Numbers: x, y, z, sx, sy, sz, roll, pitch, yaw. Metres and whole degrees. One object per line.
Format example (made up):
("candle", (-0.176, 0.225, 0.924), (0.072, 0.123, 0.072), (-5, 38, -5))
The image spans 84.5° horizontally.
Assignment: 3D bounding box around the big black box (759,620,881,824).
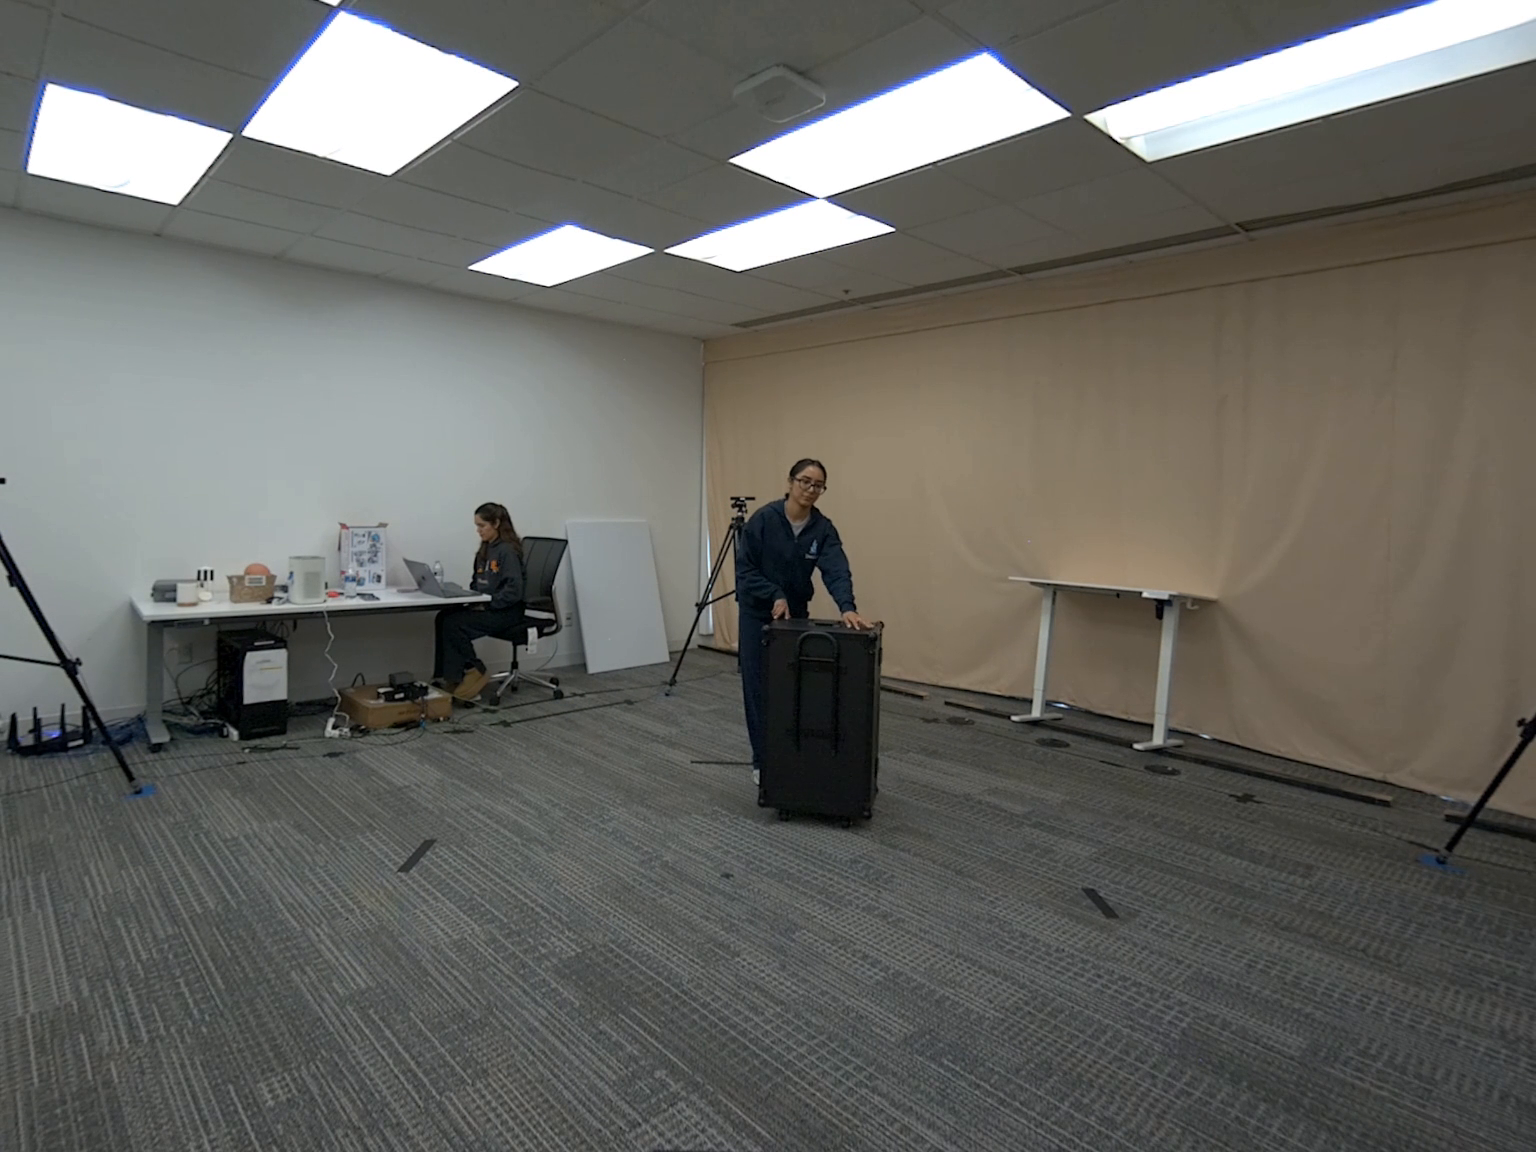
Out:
("big black box", (0.233, 0.639, 3.714), (0.527, 0.859, 0.393), (3, 5, 14))
